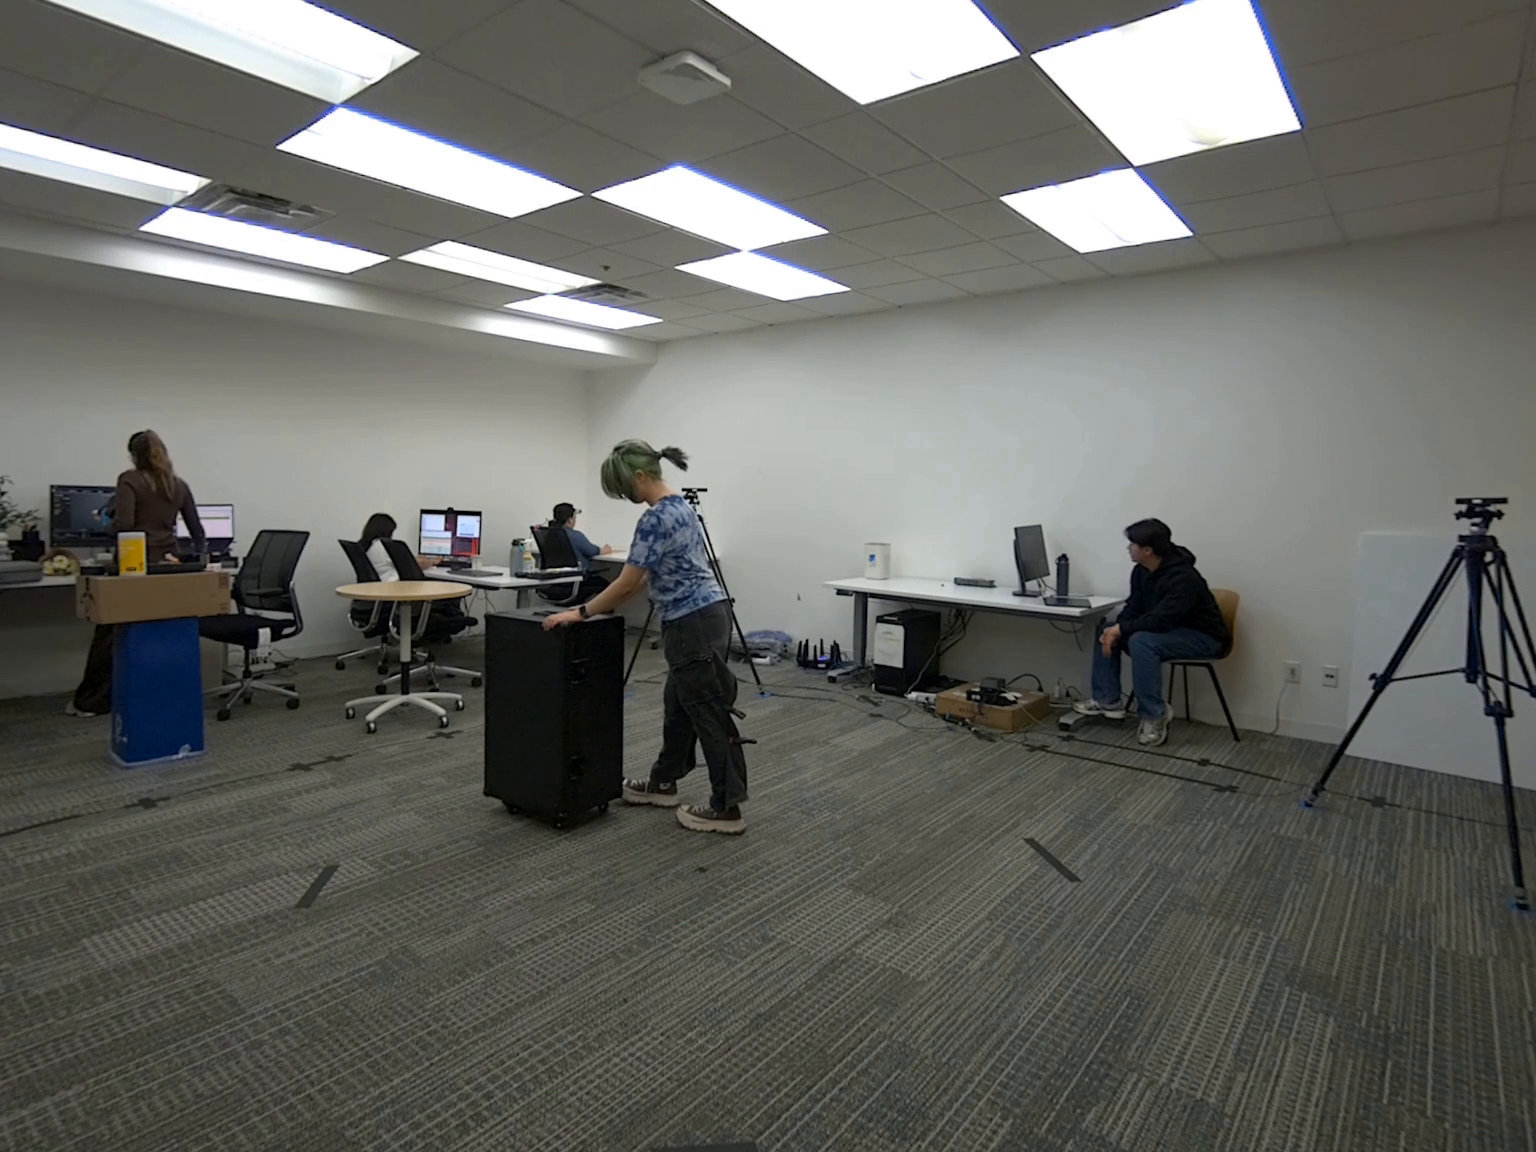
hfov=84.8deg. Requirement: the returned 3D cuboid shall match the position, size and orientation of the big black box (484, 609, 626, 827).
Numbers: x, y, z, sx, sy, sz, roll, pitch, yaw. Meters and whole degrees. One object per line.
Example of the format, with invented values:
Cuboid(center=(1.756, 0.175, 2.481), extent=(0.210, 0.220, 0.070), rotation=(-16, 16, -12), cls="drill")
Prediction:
Cuboid(center=(-0.923, 0.580, 3.634), extent=(0.538, 0.860, 0.385), rotation=(3, 3, 34), cls="big black box")
